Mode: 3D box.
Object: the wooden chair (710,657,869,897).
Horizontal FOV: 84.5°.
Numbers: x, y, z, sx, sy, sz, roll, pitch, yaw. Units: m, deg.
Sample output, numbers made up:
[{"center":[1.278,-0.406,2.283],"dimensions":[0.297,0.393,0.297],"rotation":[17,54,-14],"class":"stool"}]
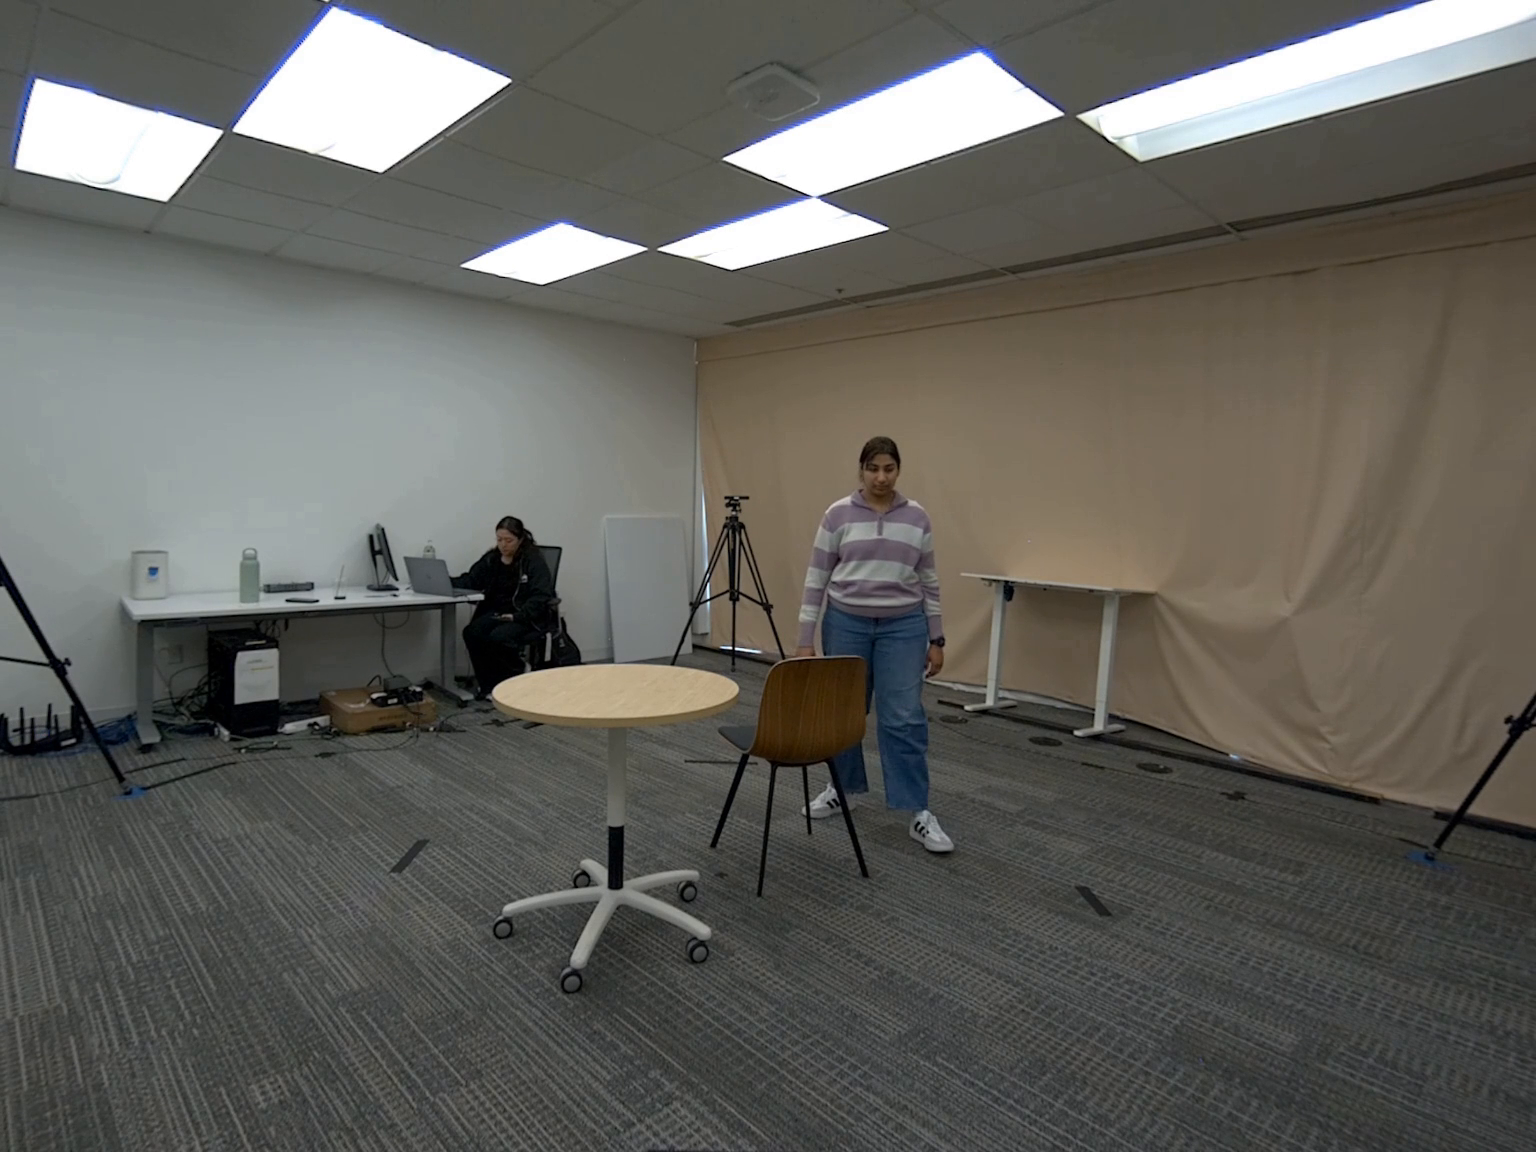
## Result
[{"center":[0.071,0.672,3.206],"dimensions":[0.470,0.873,0.535],"rotation":[0,8,-25],"class":"wooden chair"}]
